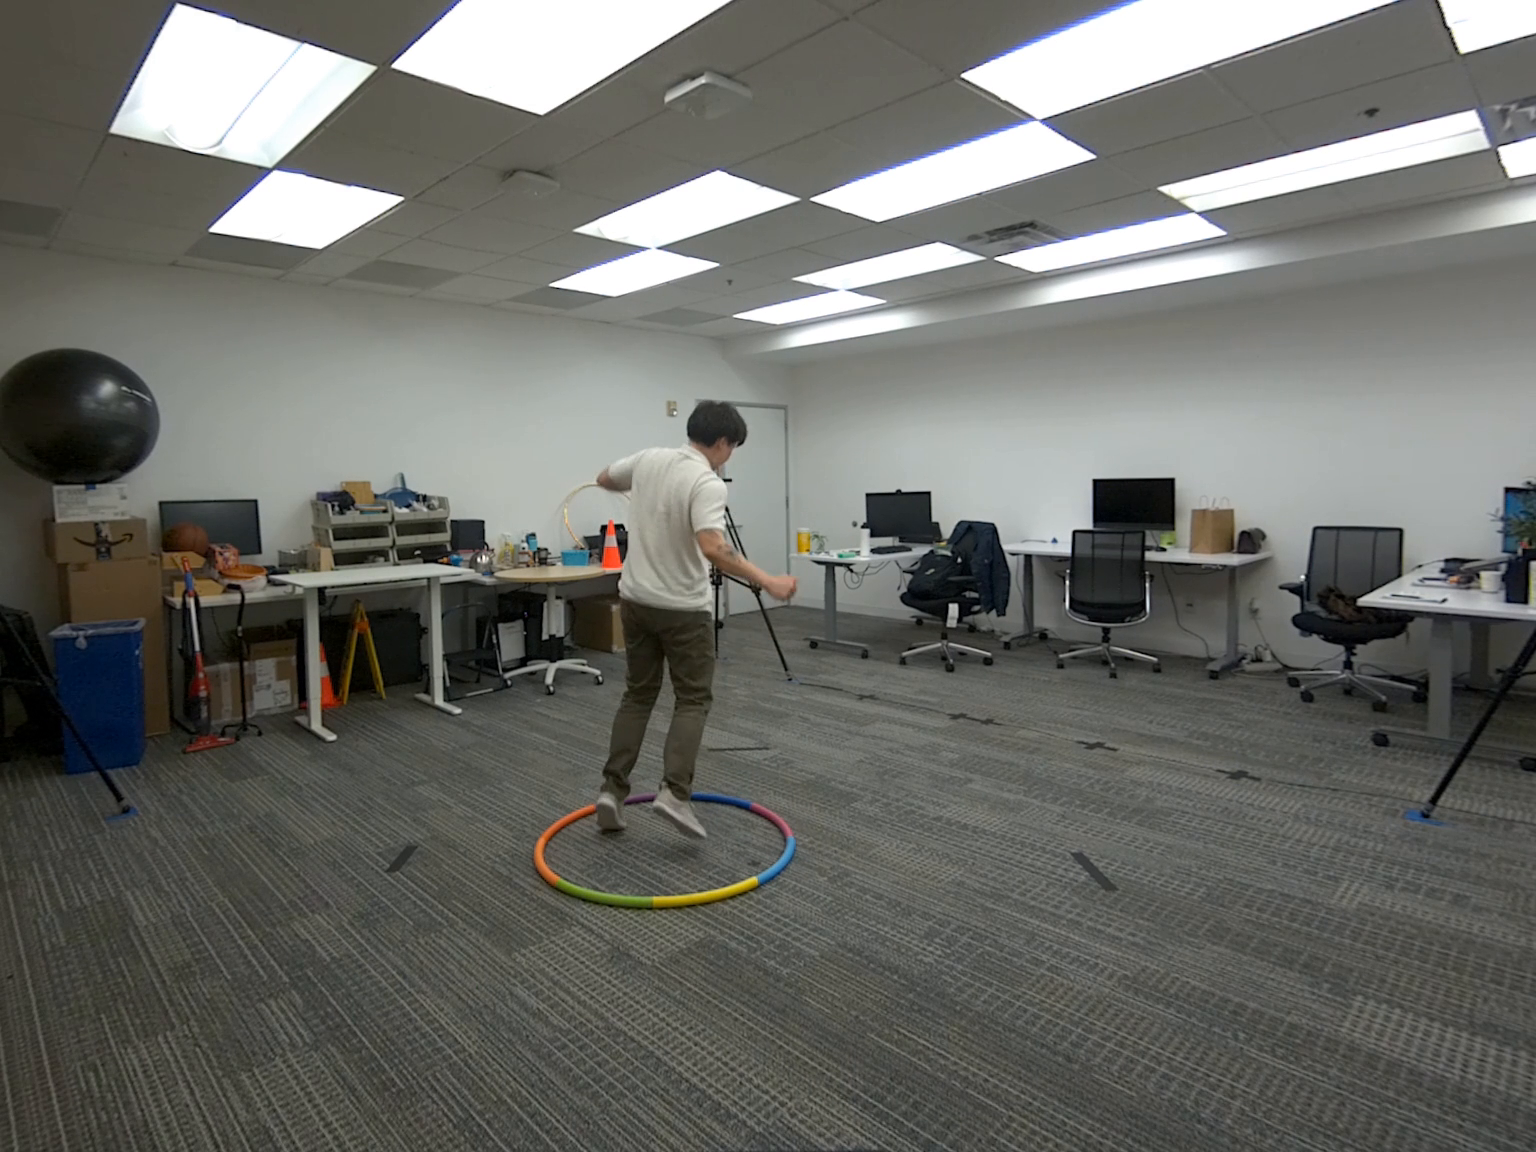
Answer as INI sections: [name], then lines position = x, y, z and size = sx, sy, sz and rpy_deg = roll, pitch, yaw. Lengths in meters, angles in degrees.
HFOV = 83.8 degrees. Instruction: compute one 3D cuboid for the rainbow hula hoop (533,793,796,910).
[rainbow hula hoop]
position = -0.388, 1.003, 3.269
size = 0.978, 0.035, 0.984
rpy_deg = -1, 6, -2
